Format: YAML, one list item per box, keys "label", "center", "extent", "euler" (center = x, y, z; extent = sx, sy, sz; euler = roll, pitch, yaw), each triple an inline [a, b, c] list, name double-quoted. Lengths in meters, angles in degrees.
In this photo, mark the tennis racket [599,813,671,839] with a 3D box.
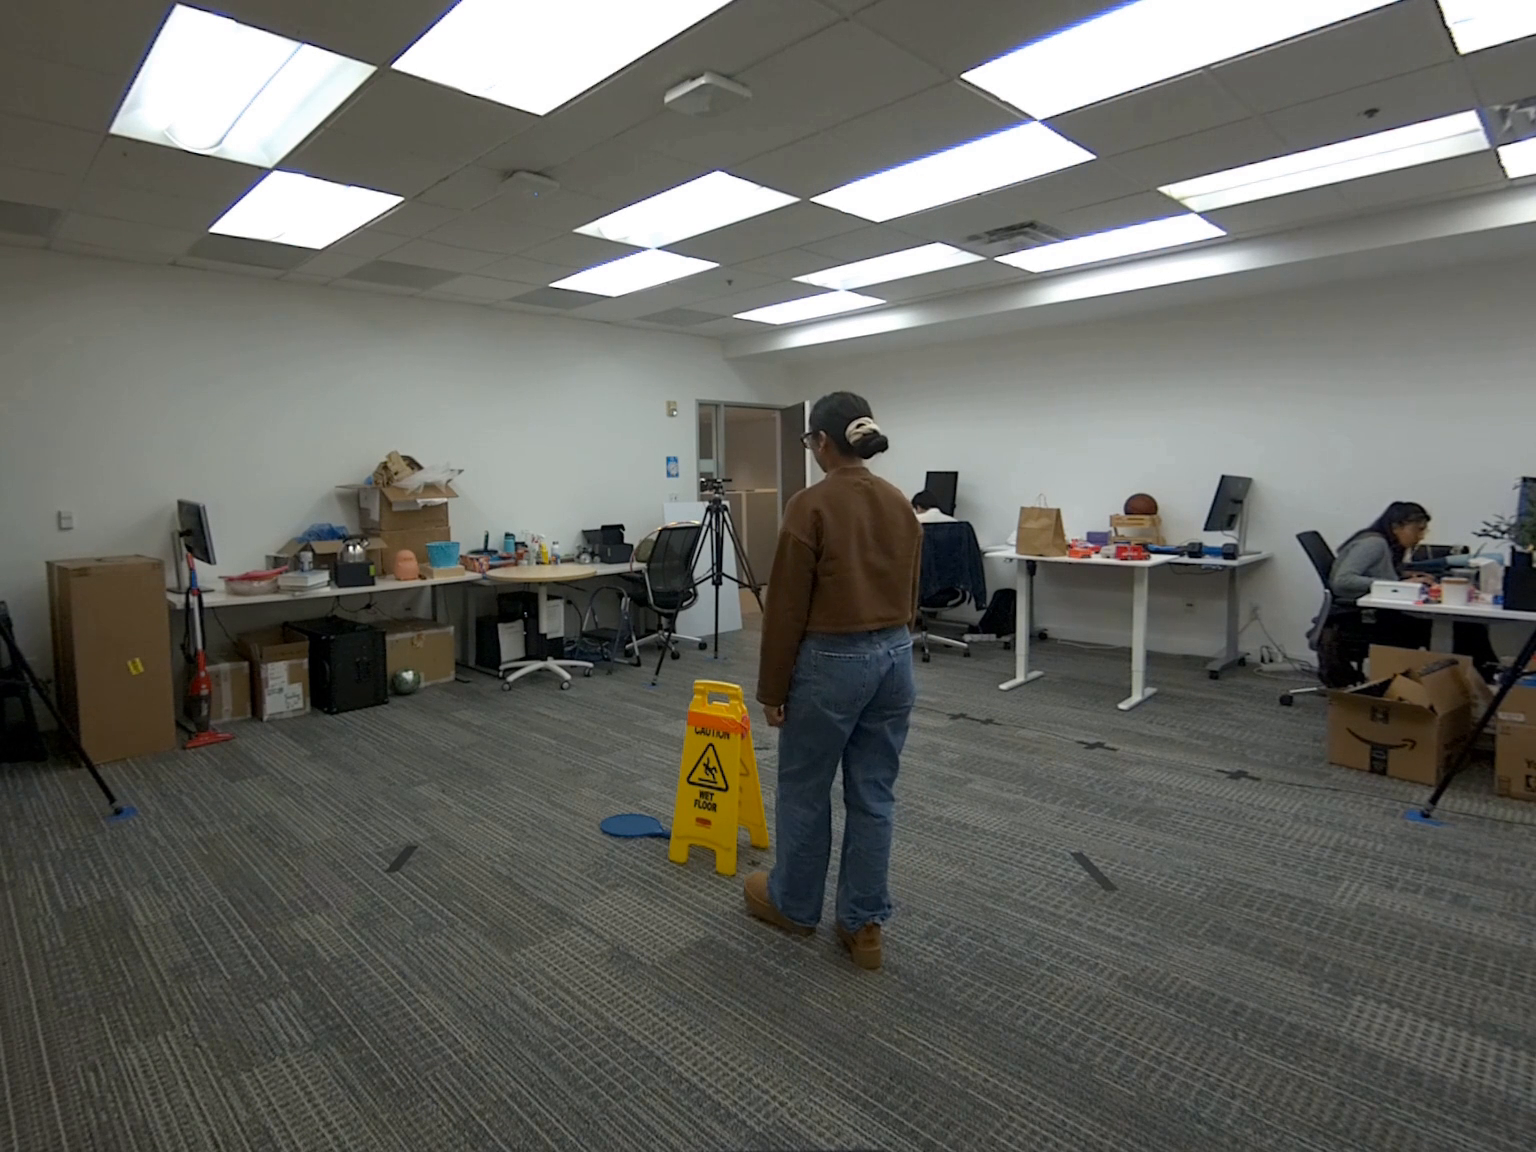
- label: "tennis racket"
  center: [-0.479, 1.004, 3.396]
  extent: [0.445, 0.031, 0.208]
  euler: [2, 6, 35]
